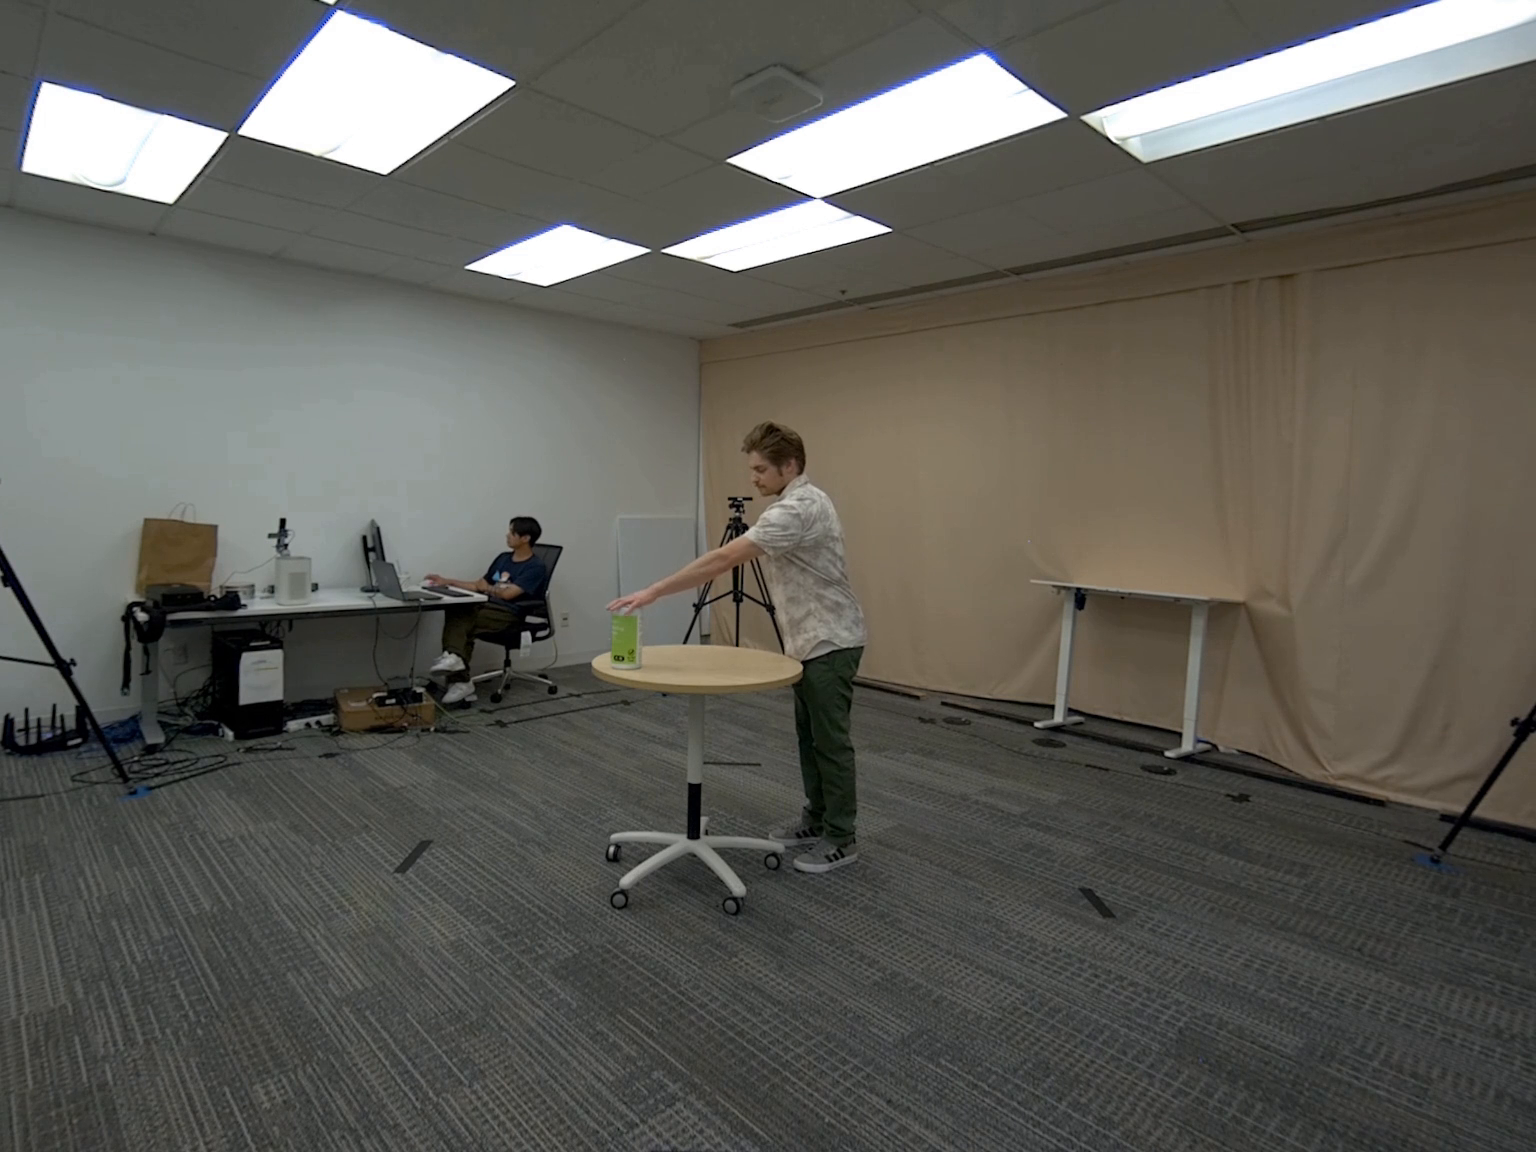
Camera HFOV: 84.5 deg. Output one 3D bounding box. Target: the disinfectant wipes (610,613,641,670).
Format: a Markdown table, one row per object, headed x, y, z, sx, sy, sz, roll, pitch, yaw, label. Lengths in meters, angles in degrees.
| x | y | z | sx | sy | sz | roll | pitch | yaw | label |
| --- | --- | --- | --- | --- | --- | --- | --- | --- | --- |
| -0.498 | 0.216 | 2.947 | 0.118 | 0.216 | 0.118 | 3 | 6 | -2 | disinfectant wipes |
